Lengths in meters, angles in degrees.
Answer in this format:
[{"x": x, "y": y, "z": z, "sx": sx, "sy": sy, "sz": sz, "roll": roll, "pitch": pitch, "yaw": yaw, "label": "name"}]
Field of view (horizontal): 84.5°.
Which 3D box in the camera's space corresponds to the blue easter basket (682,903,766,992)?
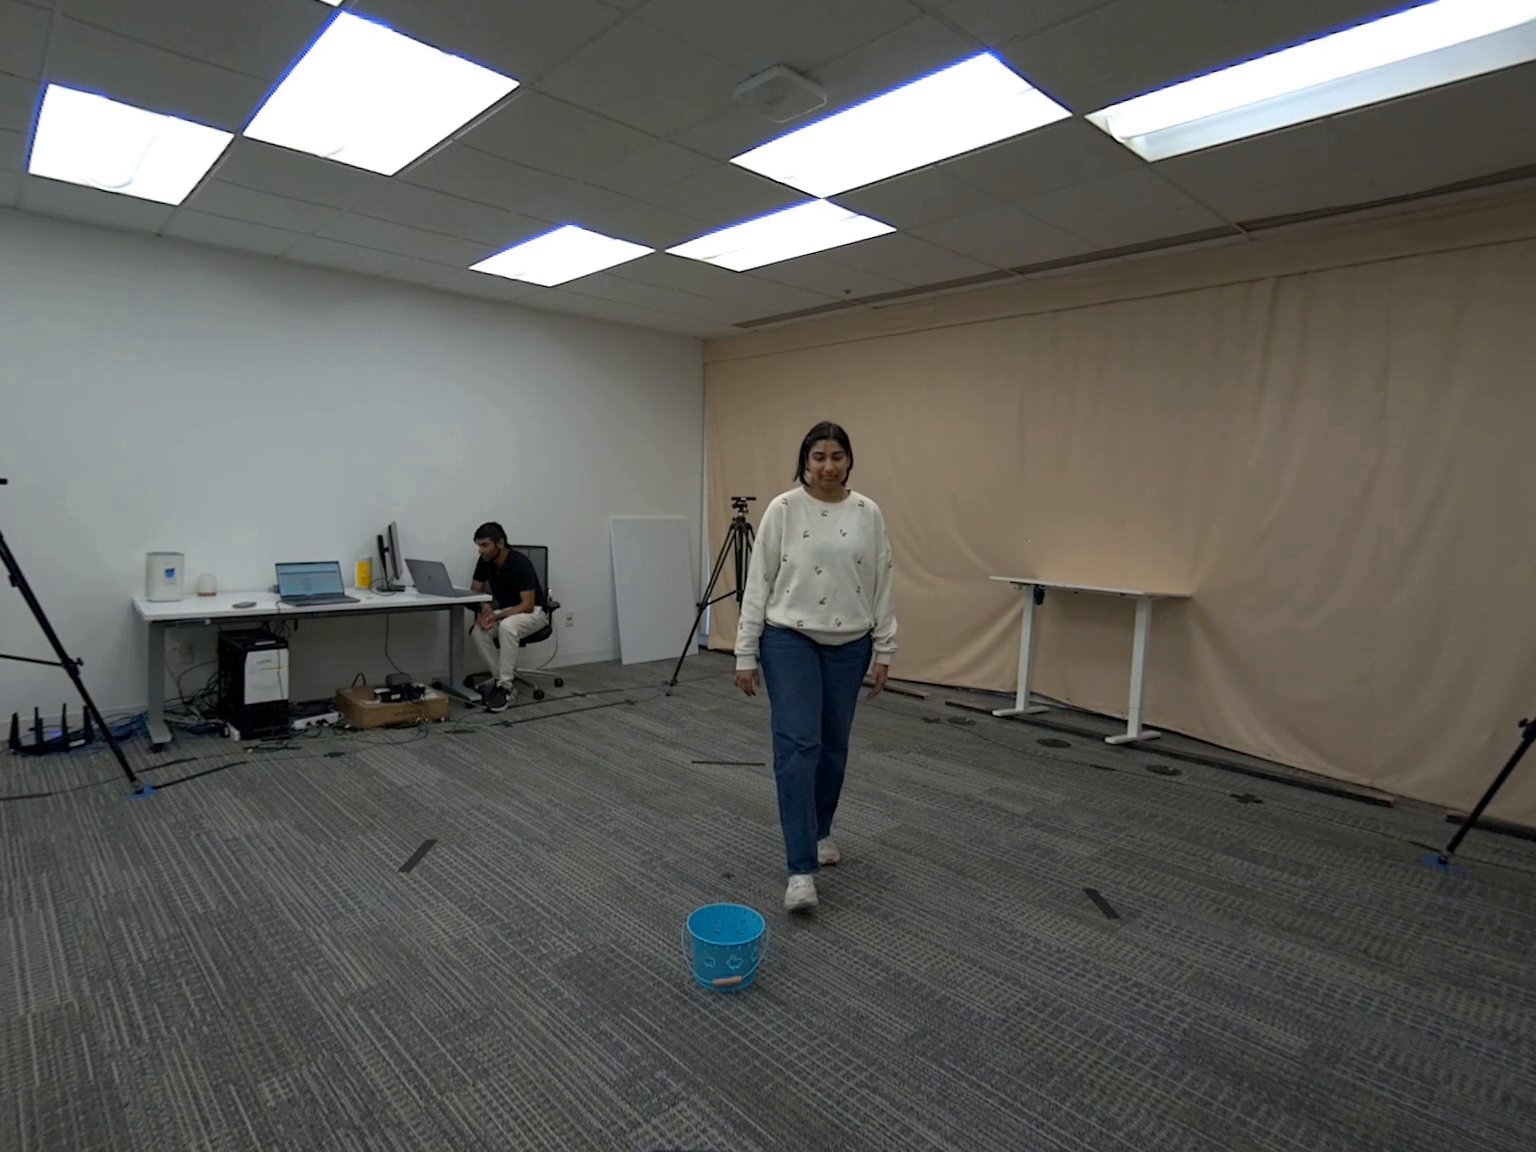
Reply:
[{"x": -0.138, "y": 1.086, "z": 2.462, "sx": 0.243, "sy": 0.155, "sz": 0.244, "roll": 2, "pitch": 5, "yaw": -1, "label": "blue easter basket"}]
